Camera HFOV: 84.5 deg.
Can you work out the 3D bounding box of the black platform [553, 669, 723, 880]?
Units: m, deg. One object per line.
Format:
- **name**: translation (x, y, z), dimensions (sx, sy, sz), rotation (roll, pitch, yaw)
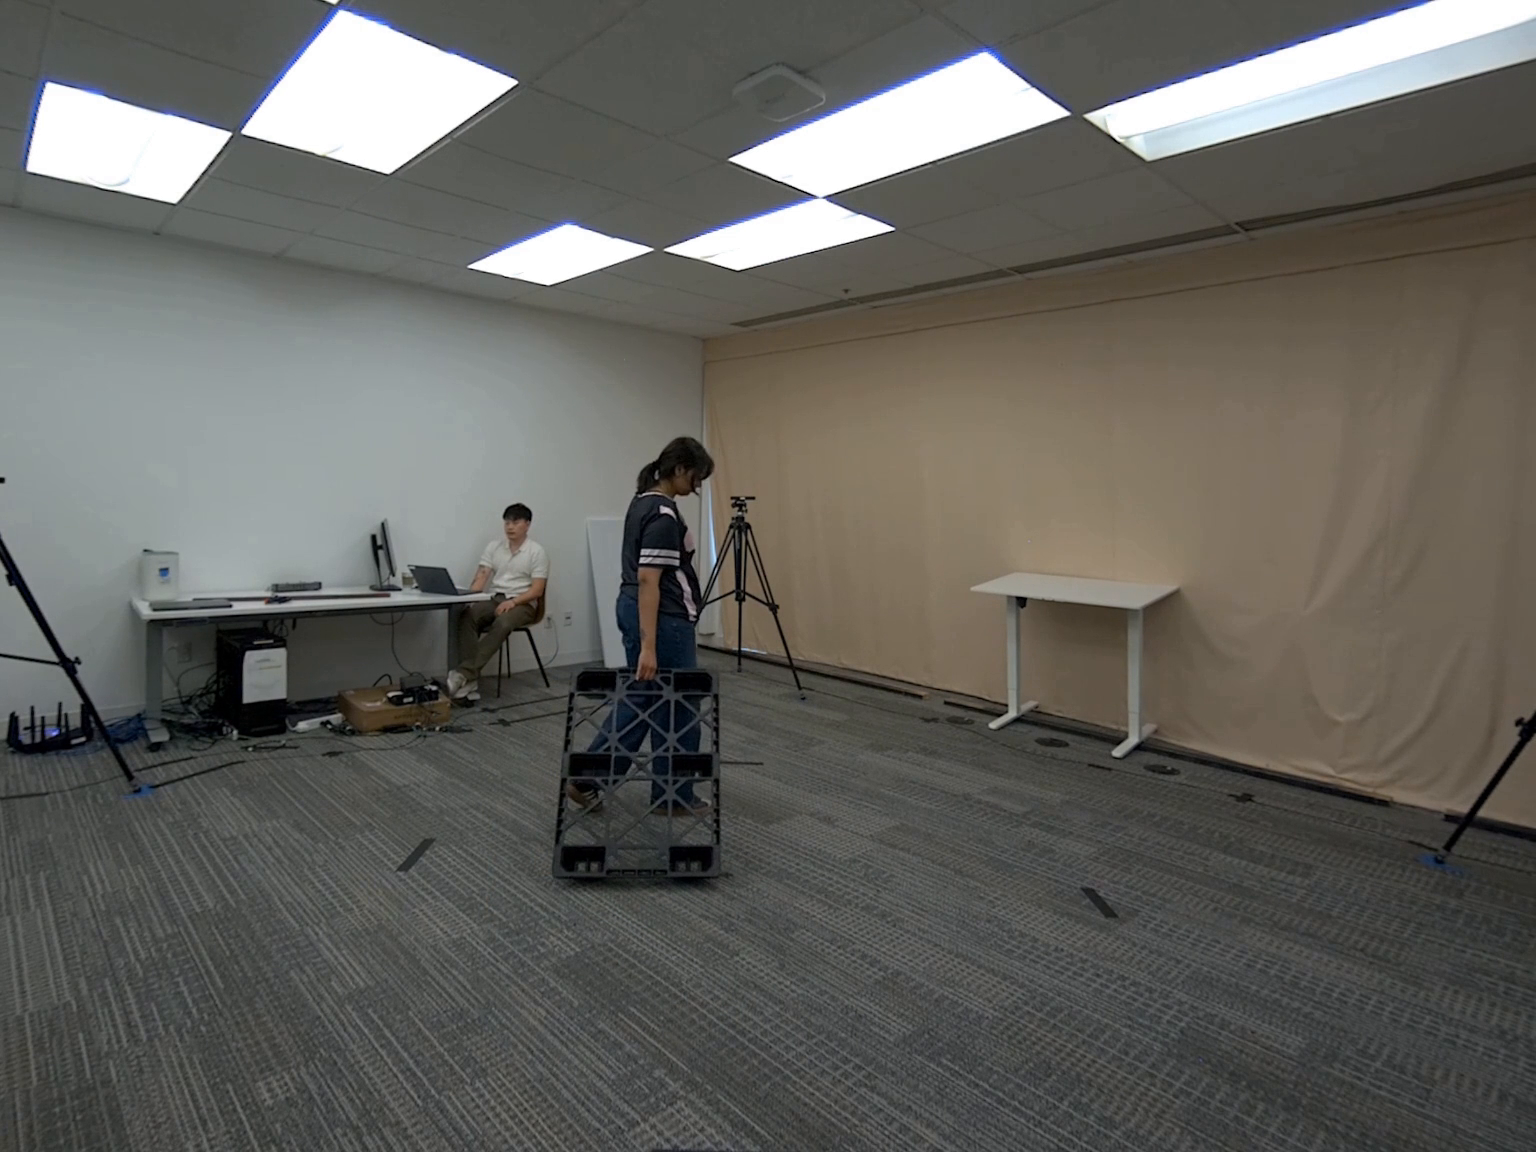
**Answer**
- **black platform**: translation (-0.502, 0.754, 3.237), dimensions (0.603, 0.822, 0.141), rotation (0, -32, -3)
